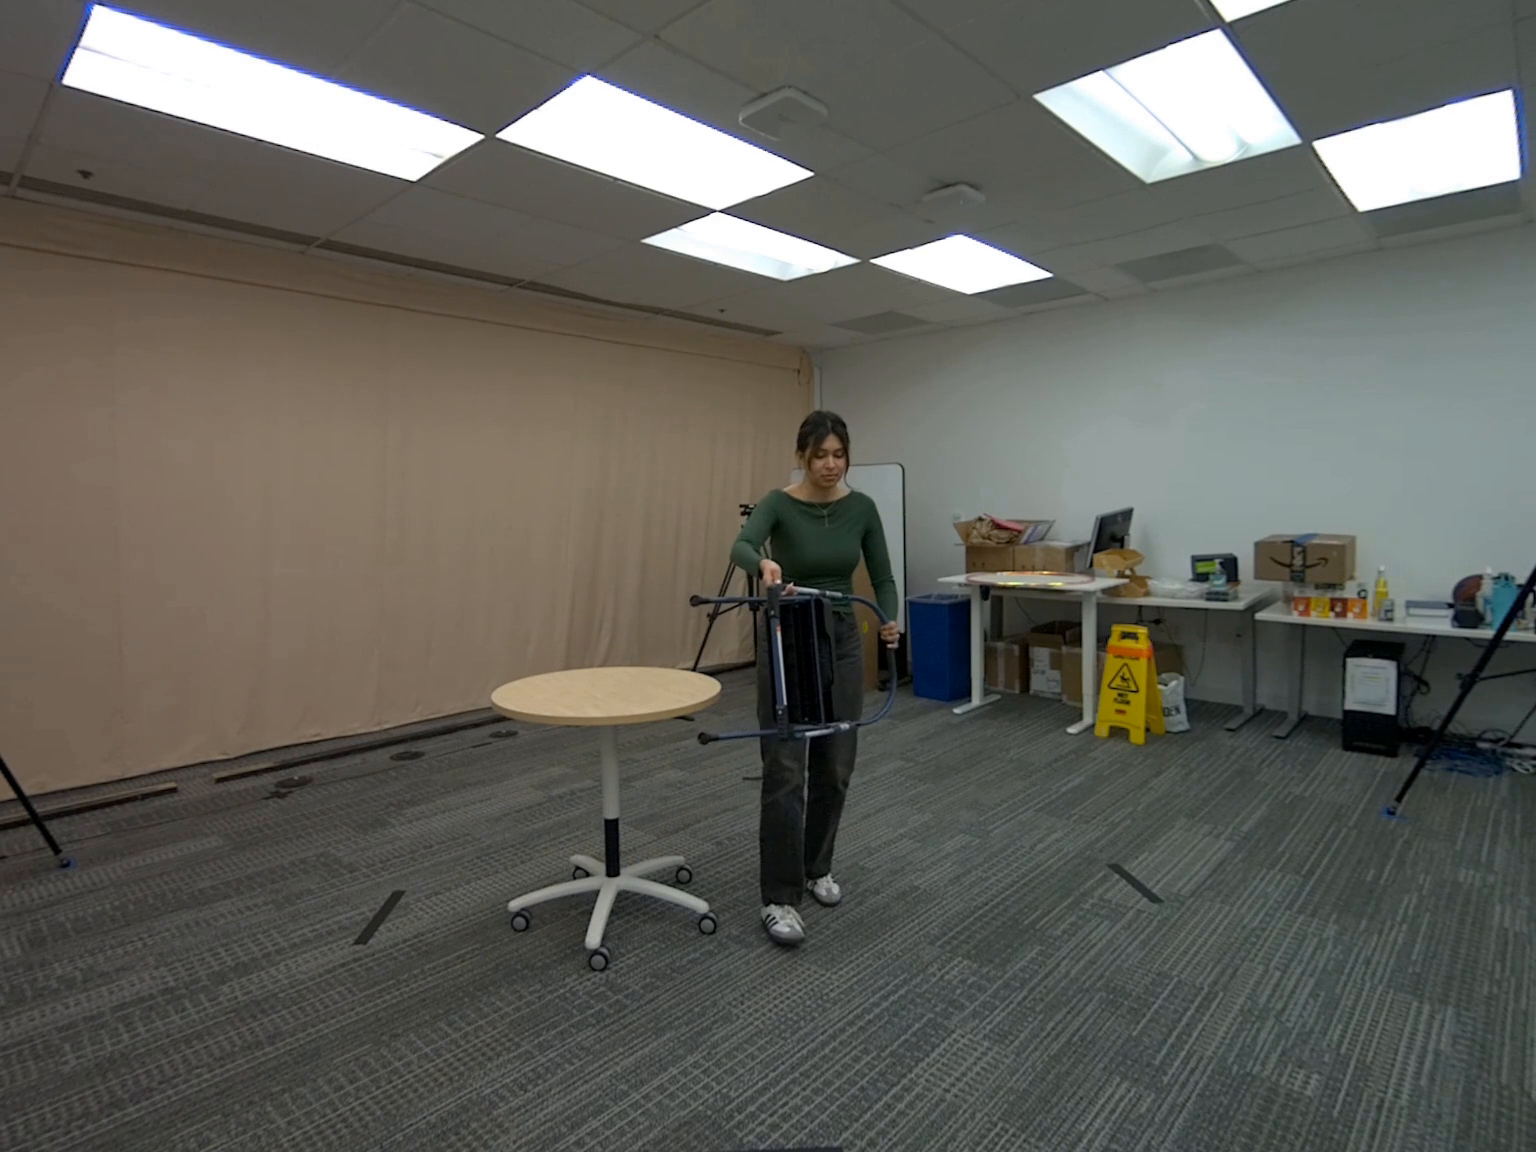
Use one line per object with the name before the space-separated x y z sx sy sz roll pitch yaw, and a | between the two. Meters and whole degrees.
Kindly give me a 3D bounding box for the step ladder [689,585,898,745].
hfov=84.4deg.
step ladder | 0.115 0.257 2.516 0.586 0.433 0.359 3 -10 -42
